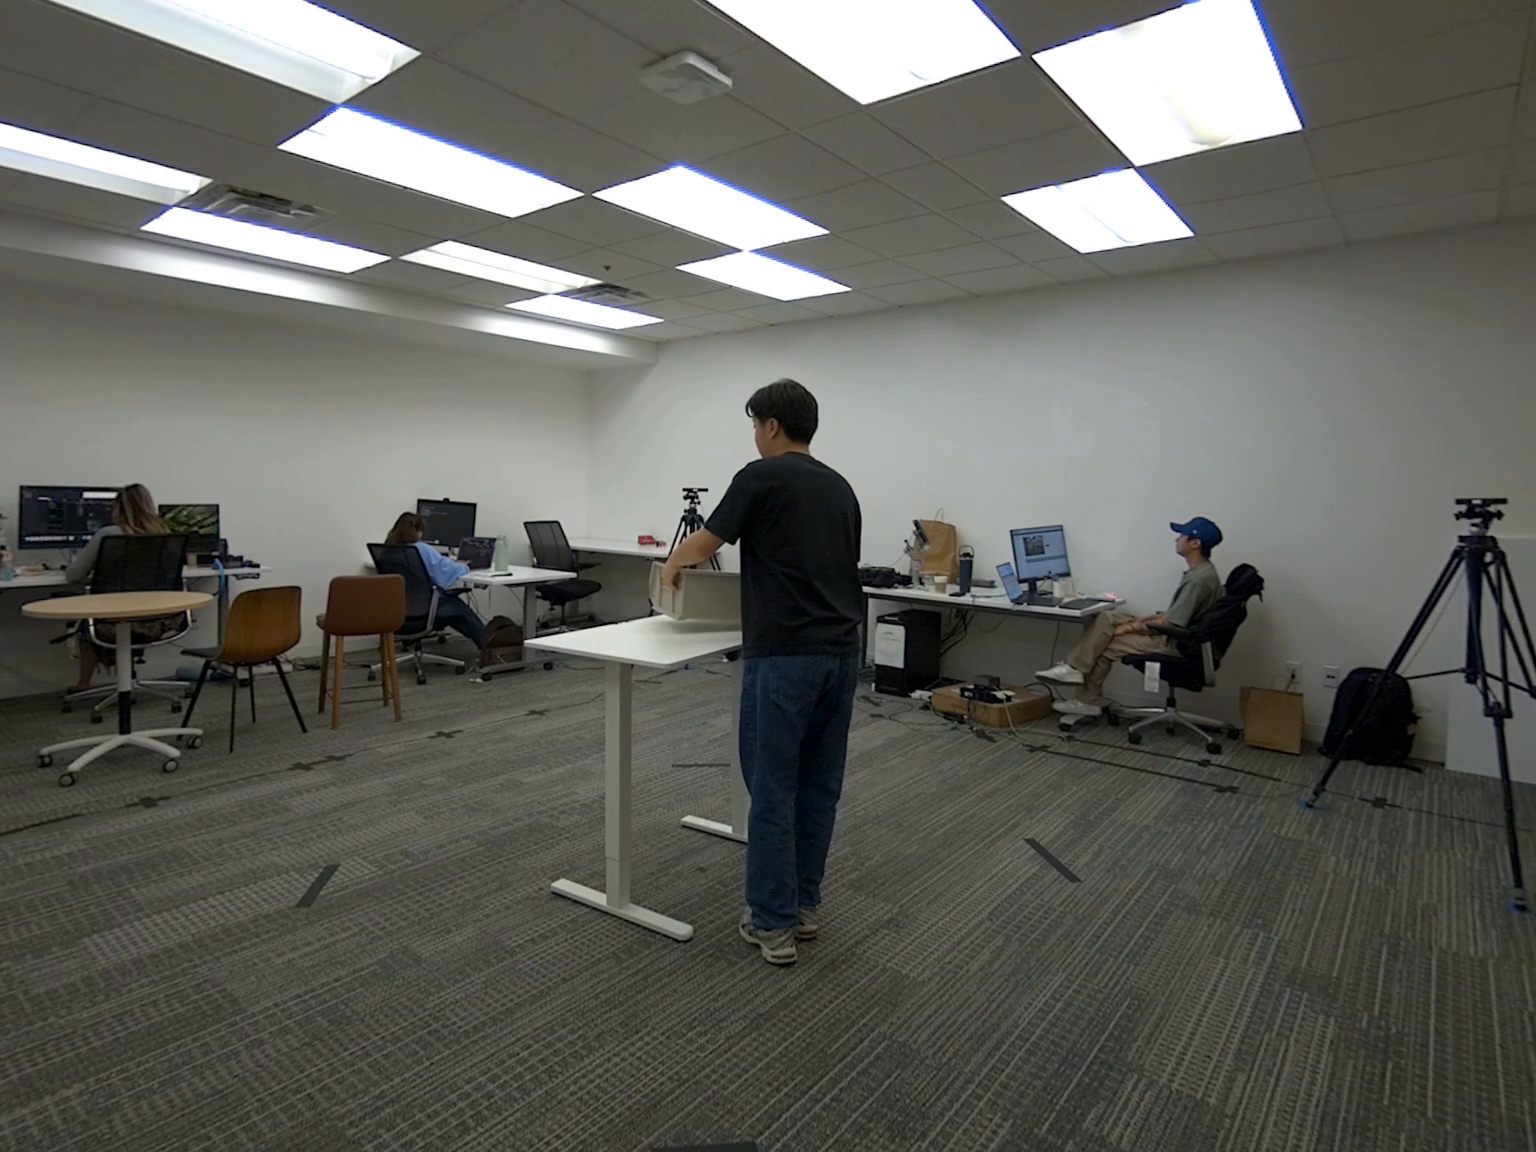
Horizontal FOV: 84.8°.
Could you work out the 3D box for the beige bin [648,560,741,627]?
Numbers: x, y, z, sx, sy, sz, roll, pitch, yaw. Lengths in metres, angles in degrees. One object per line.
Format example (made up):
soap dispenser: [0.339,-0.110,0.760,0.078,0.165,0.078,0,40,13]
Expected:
beige bin: [-0.203,0.052,3.164,0.413,0.188,0.387,2,5,-21]
